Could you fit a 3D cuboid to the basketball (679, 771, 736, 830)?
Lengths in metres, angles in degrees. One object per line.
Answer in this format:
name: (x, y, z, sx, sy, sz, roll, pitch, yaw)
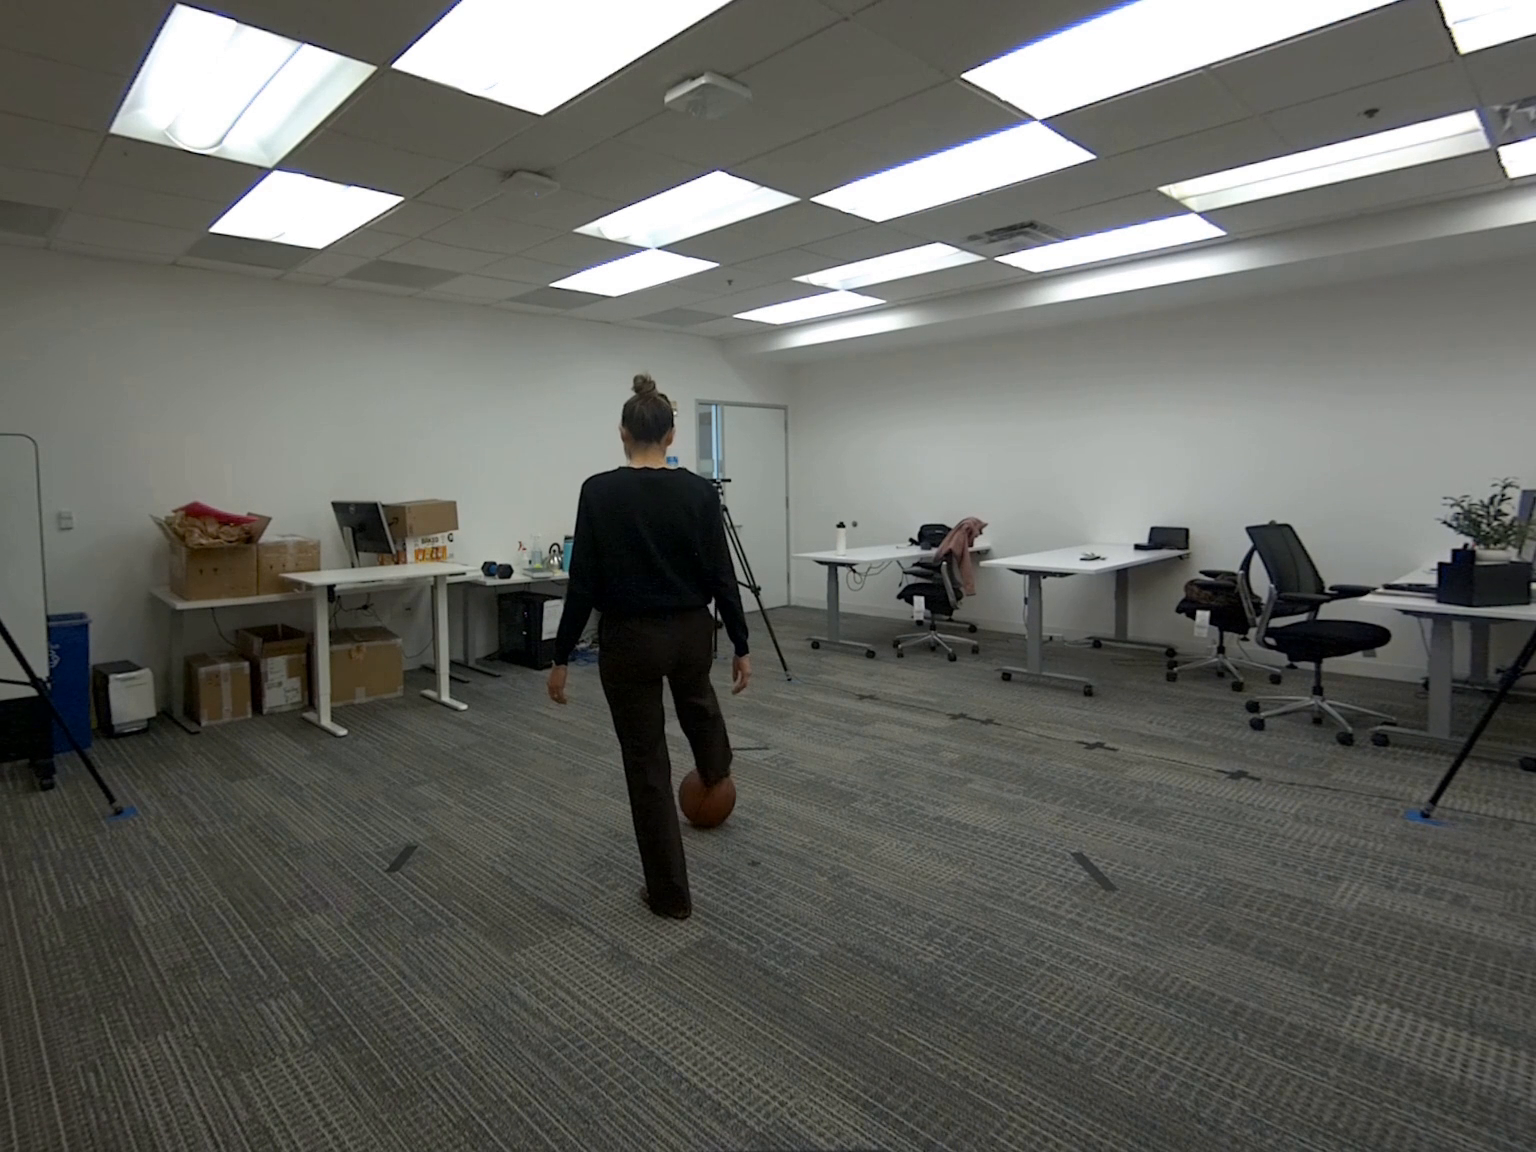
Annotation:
basketball: (-0.249, 0.892, 3.464, 0.236, 0.235, 0.237, -1, 5, -2)
